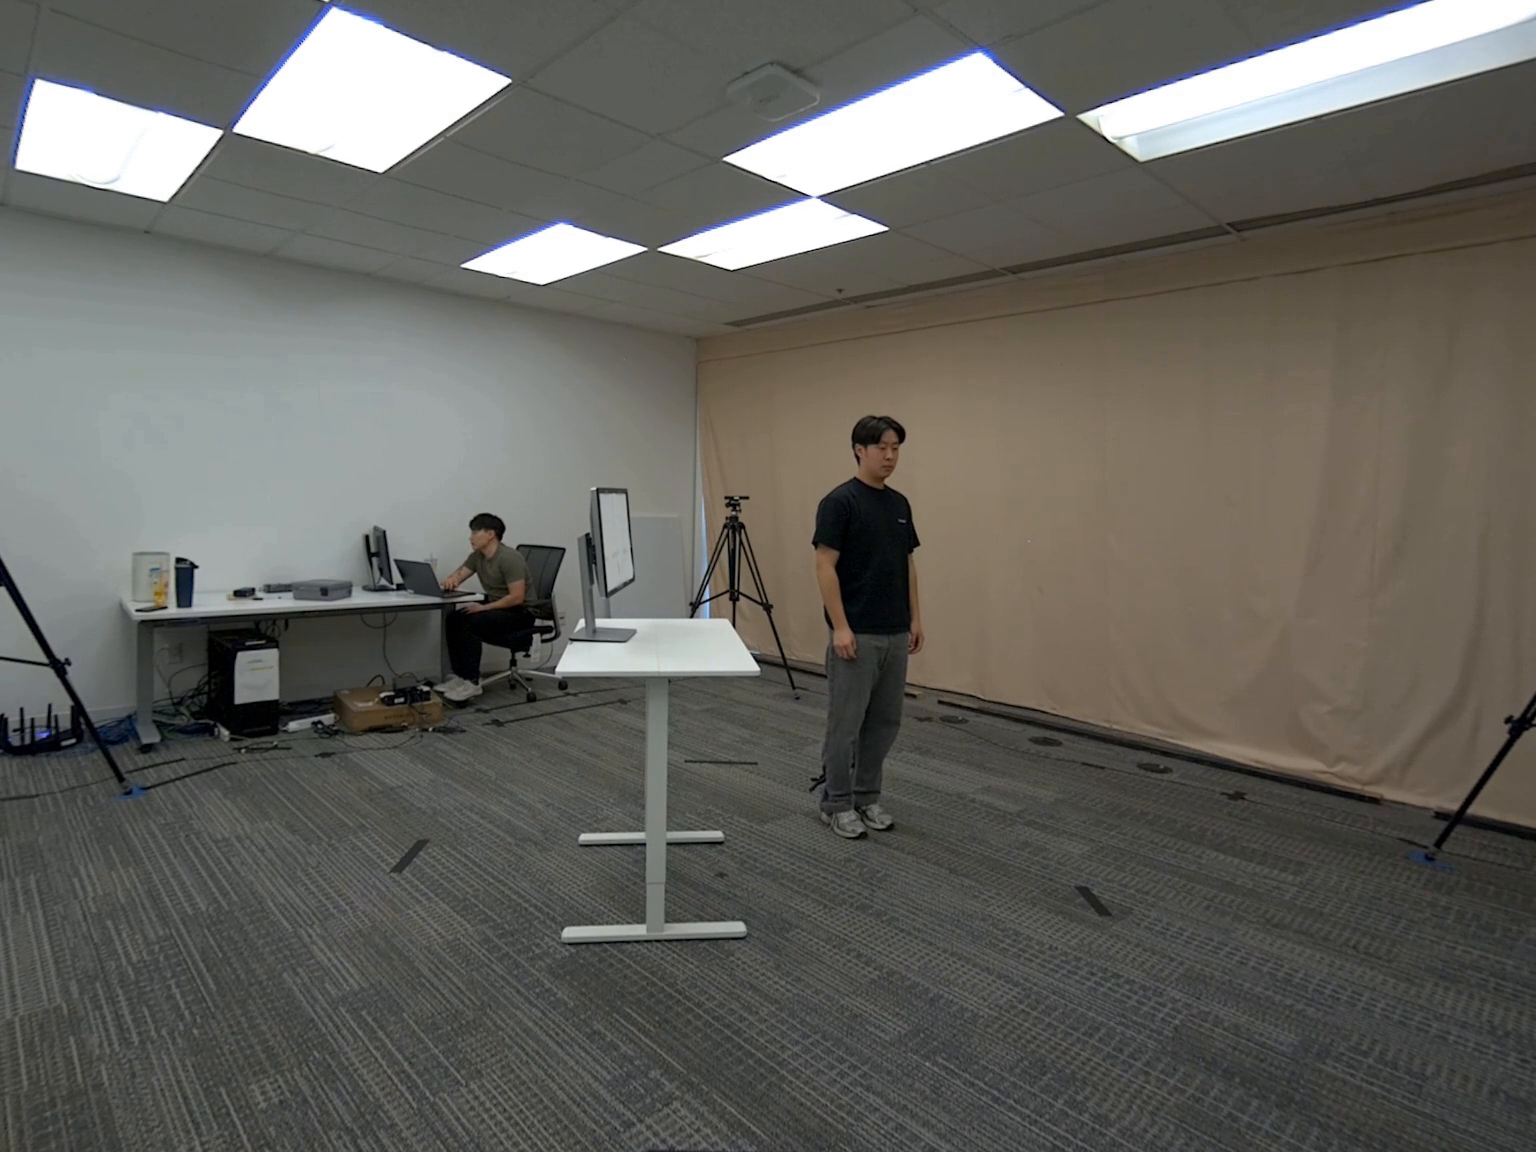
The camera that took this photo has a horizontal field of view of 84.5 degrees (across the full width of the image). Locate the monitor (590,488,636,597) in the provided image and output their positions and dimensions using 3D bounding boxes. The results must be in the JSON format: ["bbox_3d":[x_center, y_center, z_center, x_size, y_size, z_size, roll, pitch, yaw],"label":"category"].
[{"bbox_3d":[-0.595,-0.037,3.021,0.223,0.564,0.562,9,5,2],"label":"monitor"}]
